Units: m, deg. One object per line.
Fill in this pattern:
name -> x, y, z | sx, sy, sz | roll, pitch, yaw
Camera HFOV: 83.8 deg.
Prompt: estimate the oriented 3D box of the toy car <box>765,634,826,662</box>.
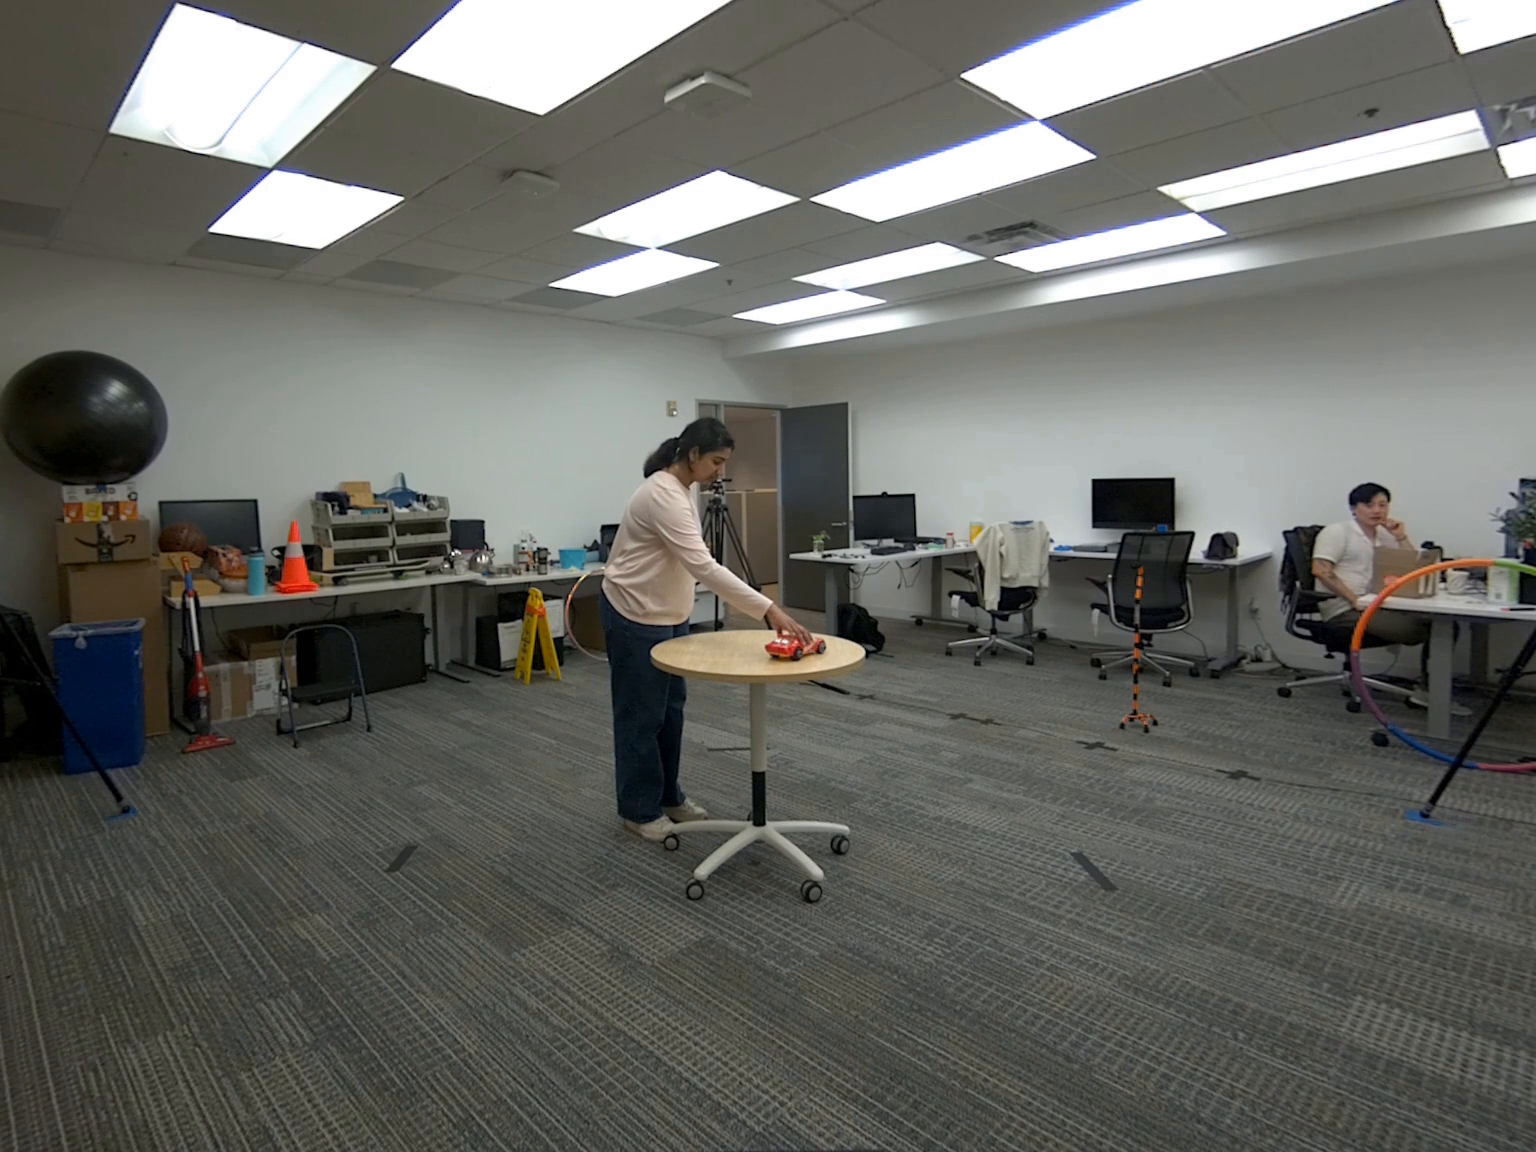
toy car -> 0.095, 0.247, 2.950 | 0.134, 0.083, 0.246 | 4, -3, 38
